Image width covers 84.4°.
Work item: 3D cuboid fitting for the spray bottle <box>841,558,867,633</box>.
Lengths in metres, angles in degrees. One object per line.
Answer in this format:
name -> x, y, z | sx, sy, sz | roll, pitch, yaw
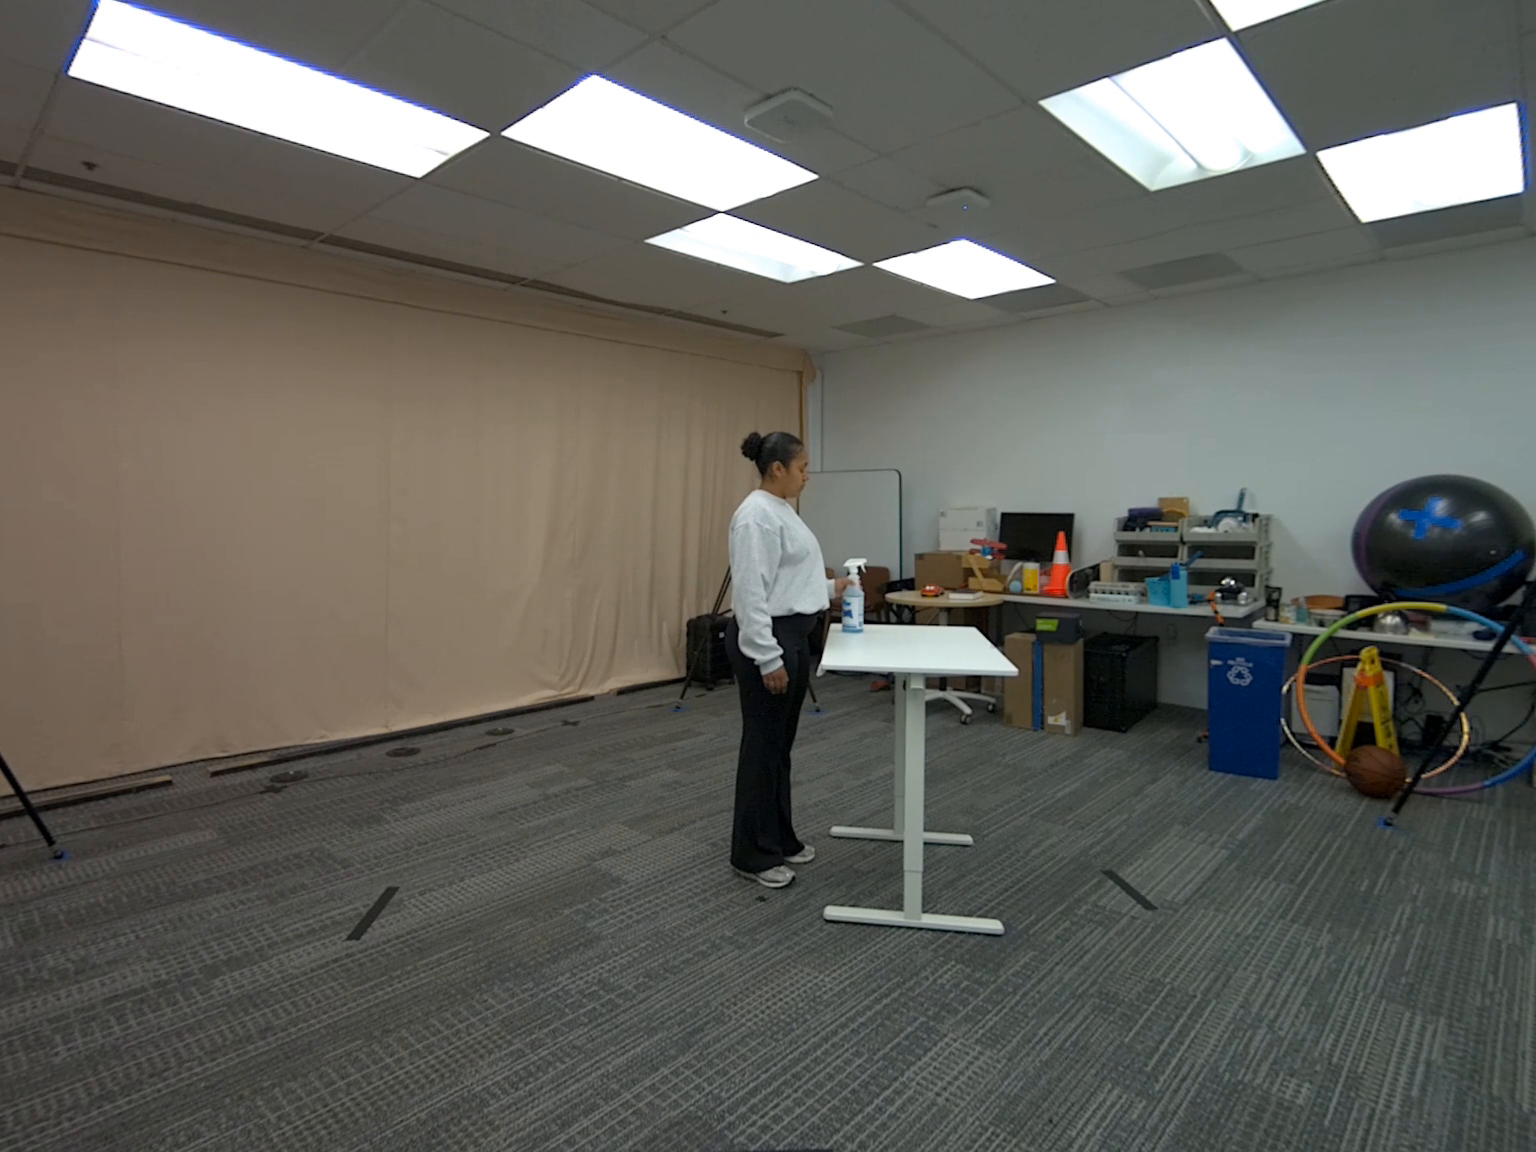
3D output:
spray bottle -> 0.351, 0.080, 3.404 | 0.092, 0.296, 0.085 | 3, 5, 18
